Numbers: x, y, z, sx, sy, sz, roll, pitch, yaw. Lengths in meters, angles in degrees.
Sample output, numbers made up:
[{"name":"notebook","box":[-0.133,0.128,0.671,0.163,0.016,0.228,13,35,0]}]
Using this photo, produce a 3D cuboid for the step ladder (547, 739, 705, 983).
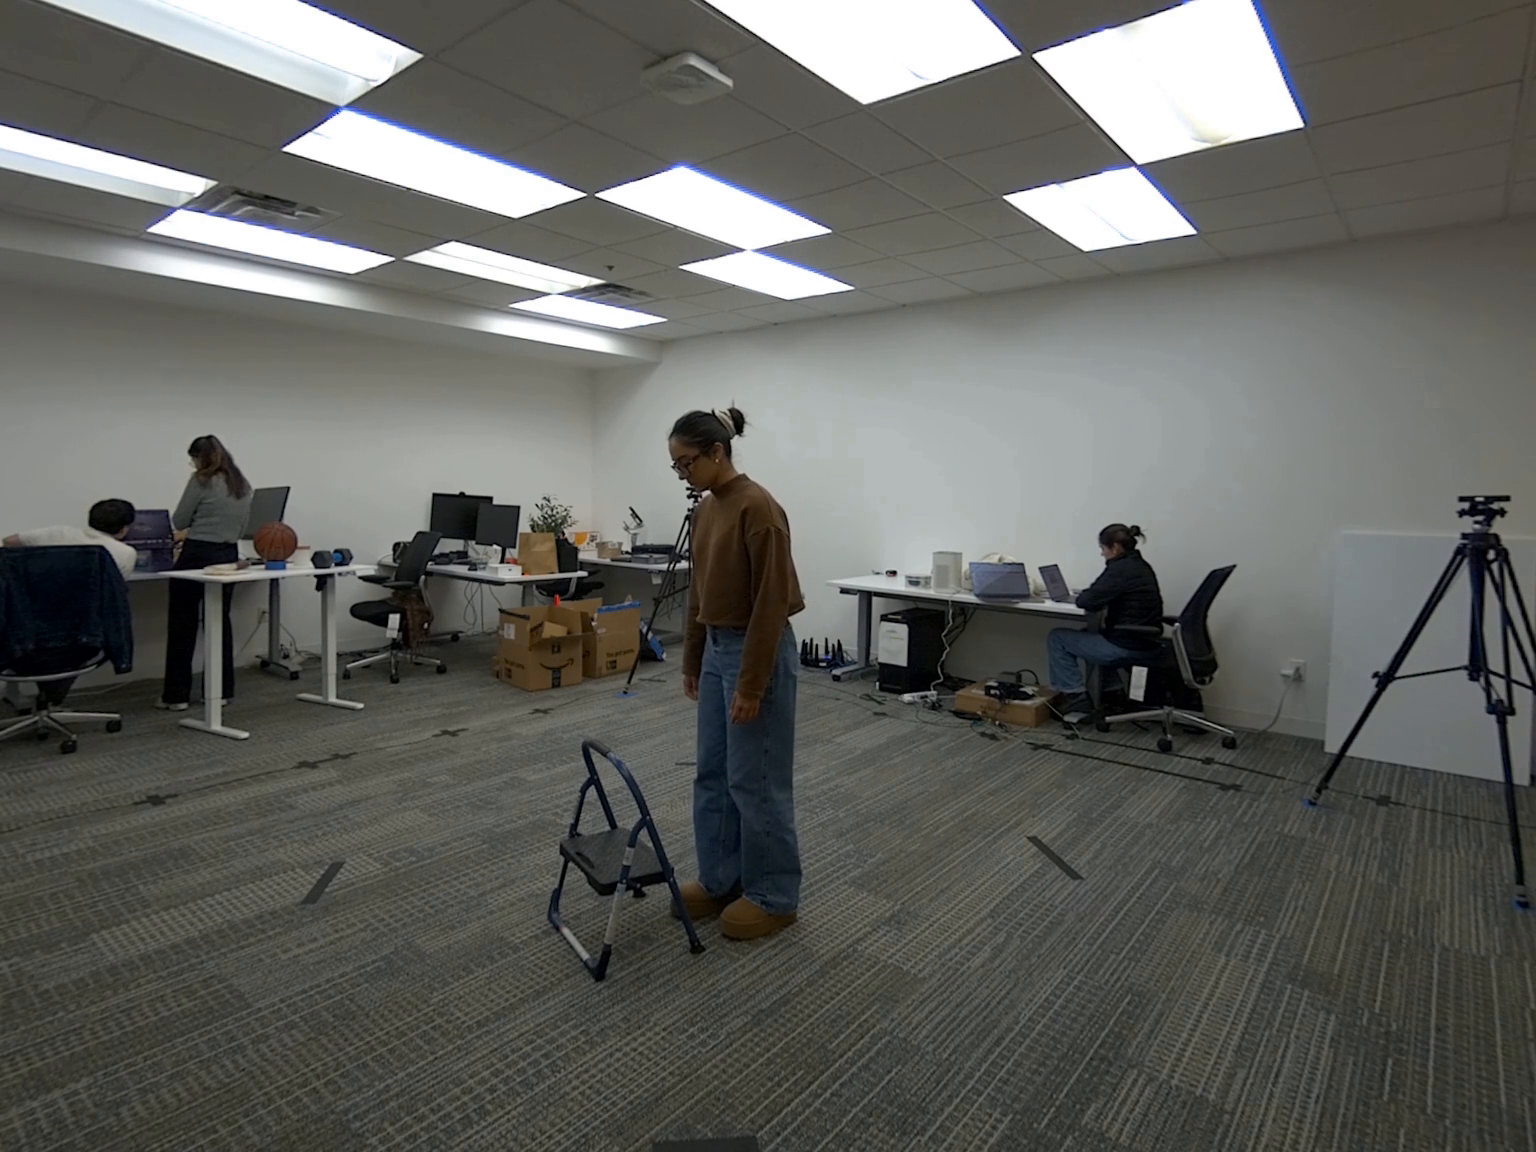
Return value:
[{"name":"step ladder","box":[-0.457,0.808,2.624,0.339,0.604,0.444,-1,4,-34]}]
